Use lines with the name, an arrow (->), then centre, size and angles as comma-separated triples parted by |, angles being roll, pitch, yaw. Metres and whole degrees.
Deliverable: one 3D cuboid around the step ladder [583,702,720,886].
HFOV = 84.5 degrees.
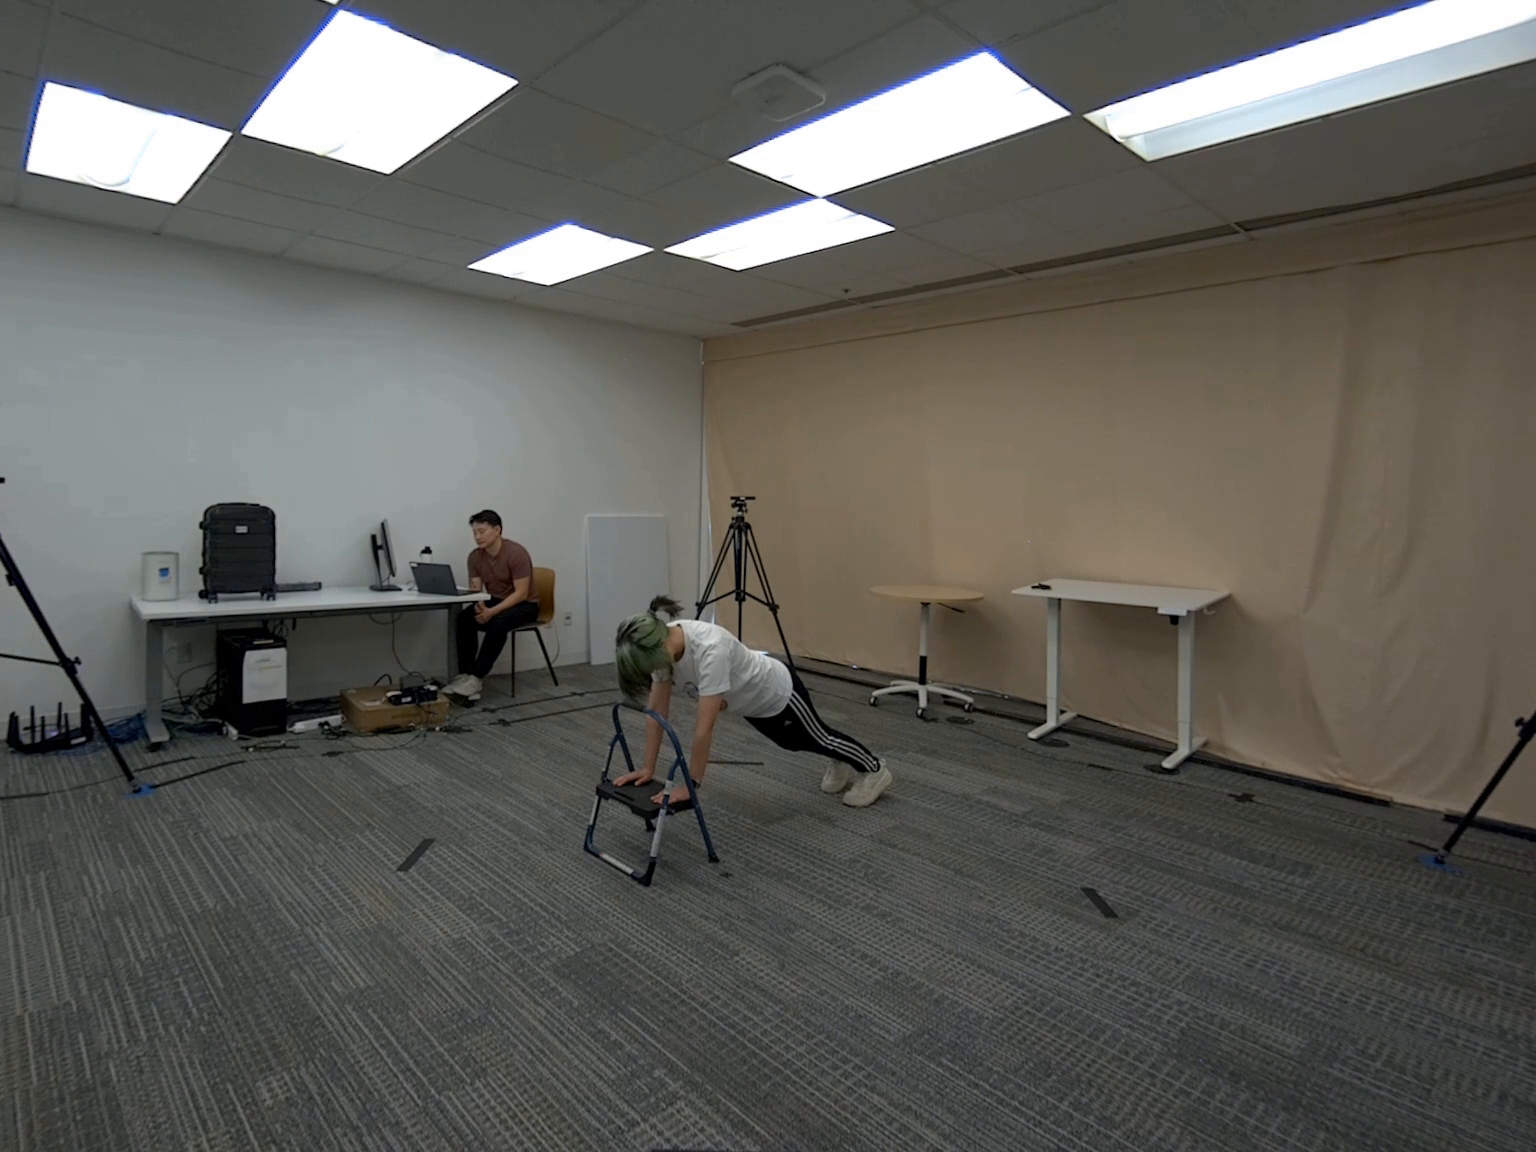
step ladder -> -0.457, 0.783, 3.242 | 0.341, 0.605, 0.442 | -2, 5, -44
